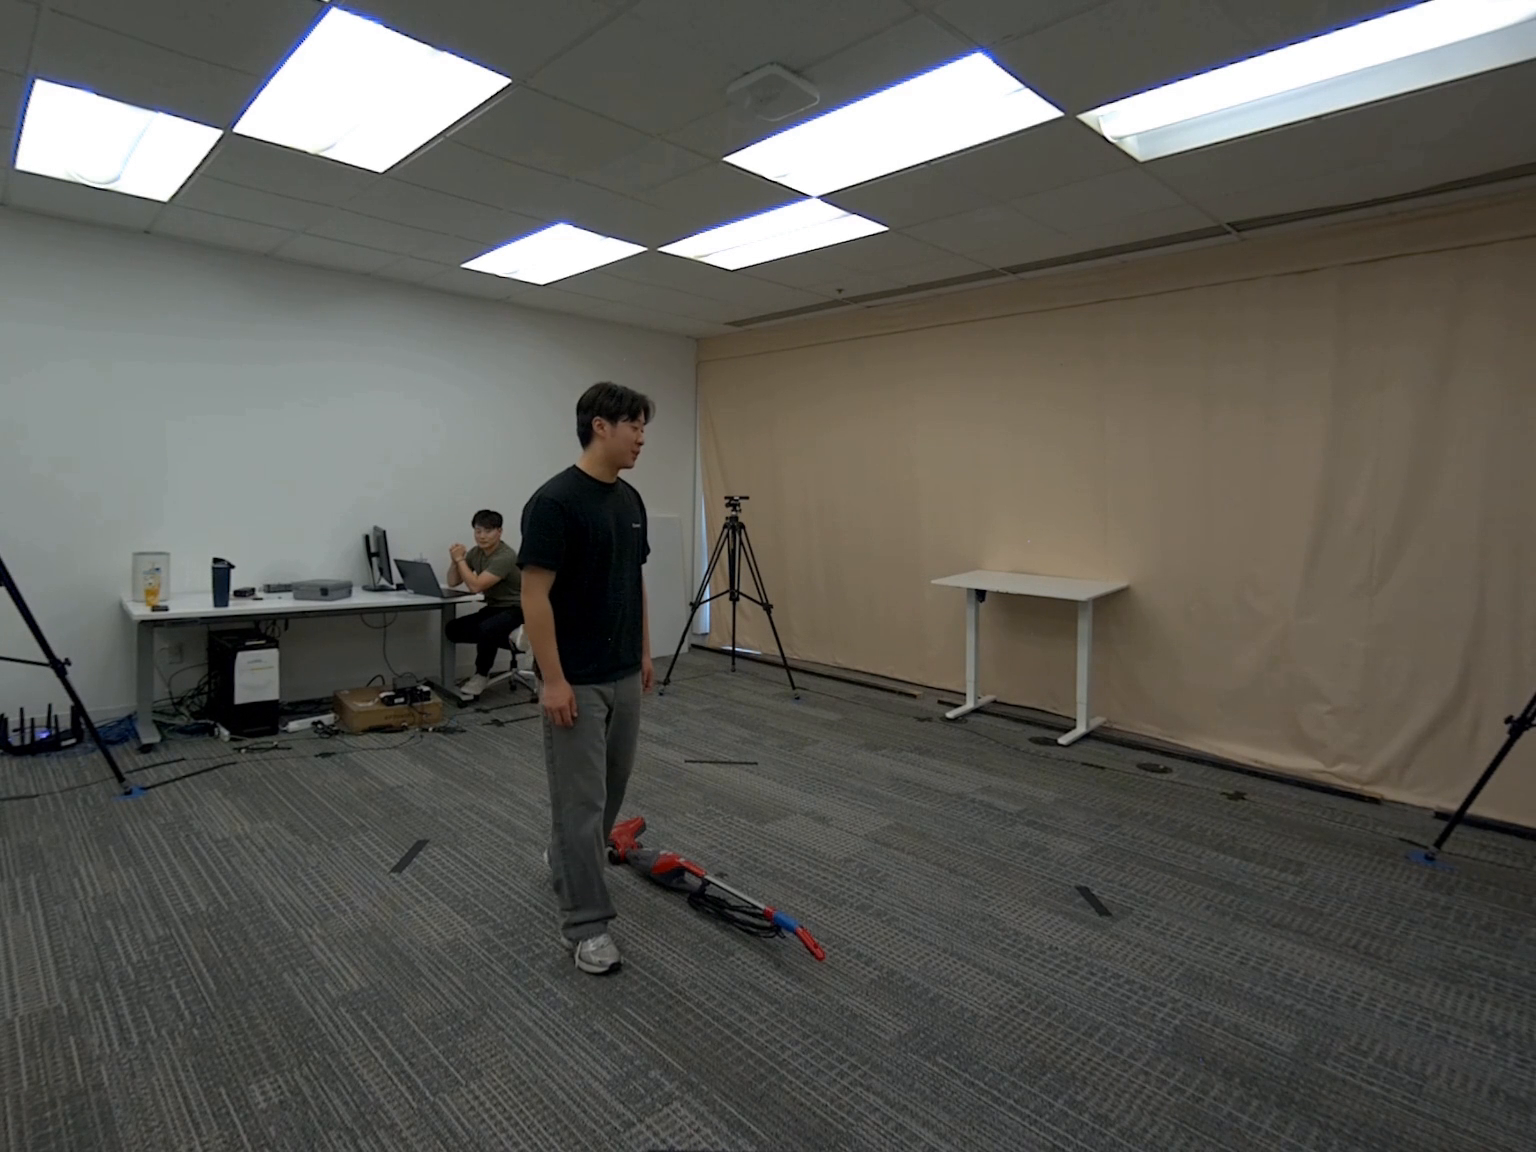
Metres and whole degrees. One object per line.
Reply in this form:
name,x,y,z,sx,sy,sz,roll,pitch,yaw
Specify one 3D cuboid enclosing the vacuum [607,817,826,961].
vacuum,-0.218,1.070,2.849,0.247,0.143,1.077,-7,10,-41
